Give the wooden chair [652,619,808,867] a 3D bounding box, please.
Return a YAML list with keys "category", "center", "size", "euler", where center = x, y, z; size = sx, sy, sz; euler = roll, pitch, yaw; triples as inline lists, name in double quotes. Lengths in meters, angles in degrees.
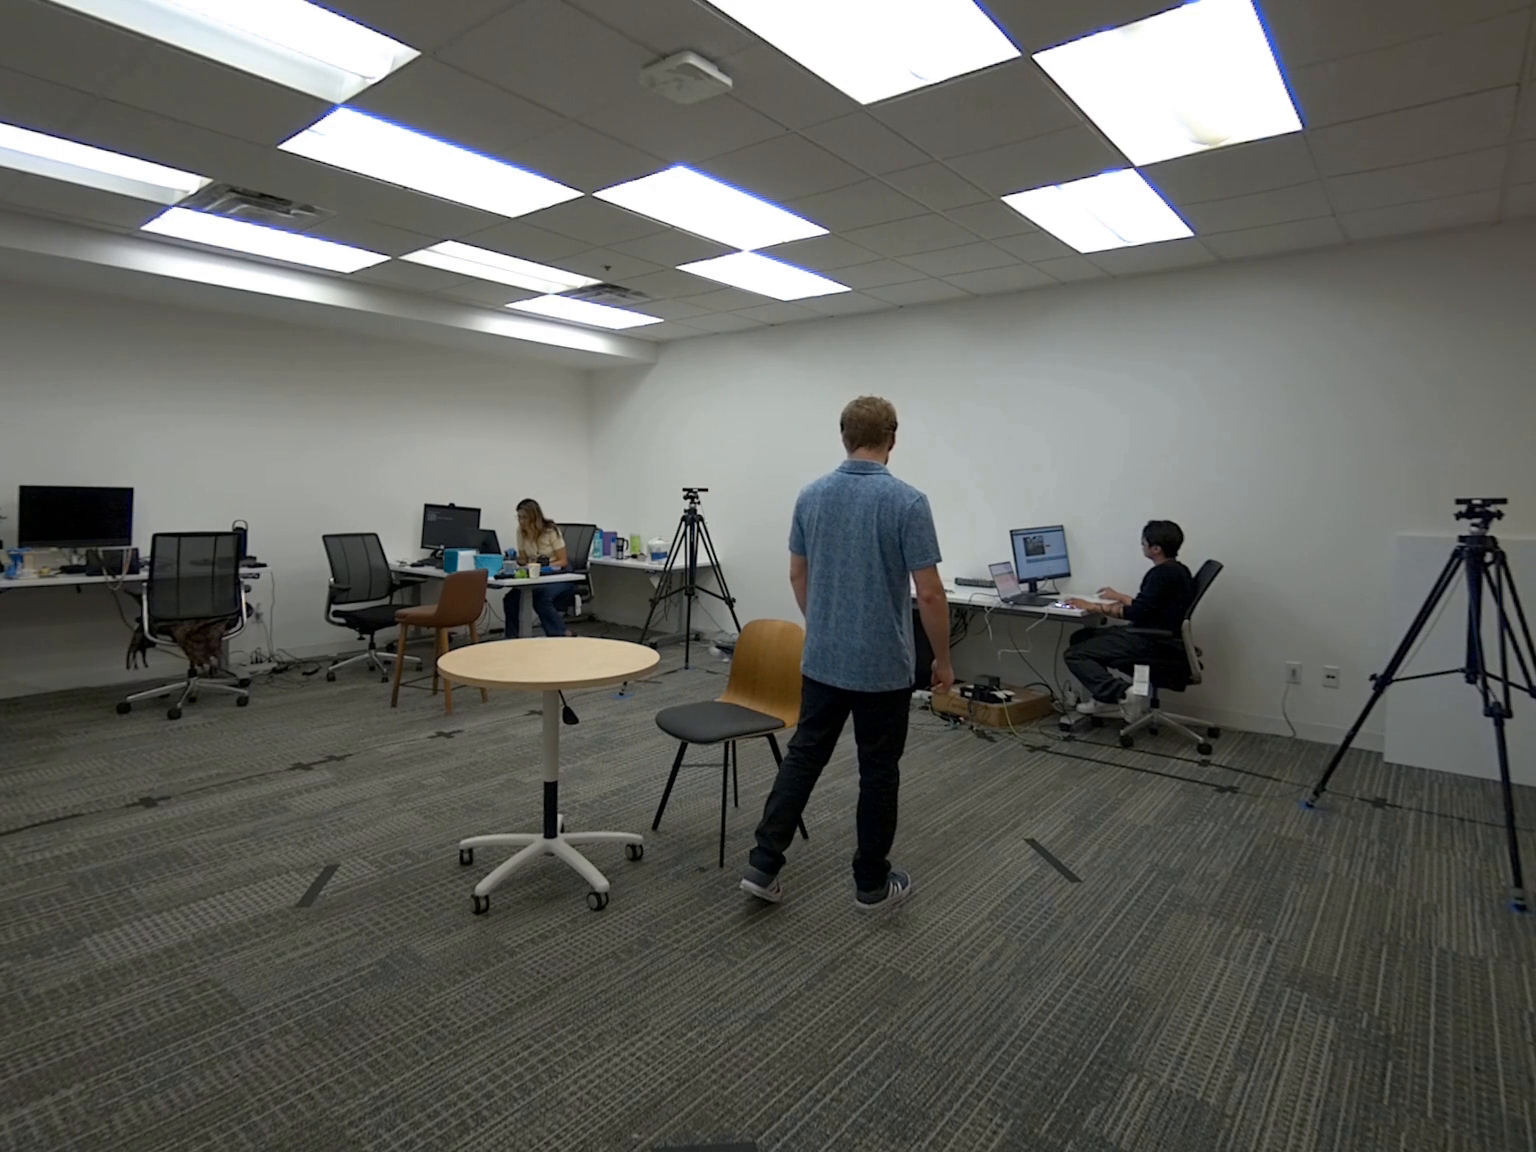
- category: "wooden chair"
  center: [-0.161, 0.614, 3.402]
  size: [0.506, 0.877, 0.494]
  euler: [4, 1, -41]
